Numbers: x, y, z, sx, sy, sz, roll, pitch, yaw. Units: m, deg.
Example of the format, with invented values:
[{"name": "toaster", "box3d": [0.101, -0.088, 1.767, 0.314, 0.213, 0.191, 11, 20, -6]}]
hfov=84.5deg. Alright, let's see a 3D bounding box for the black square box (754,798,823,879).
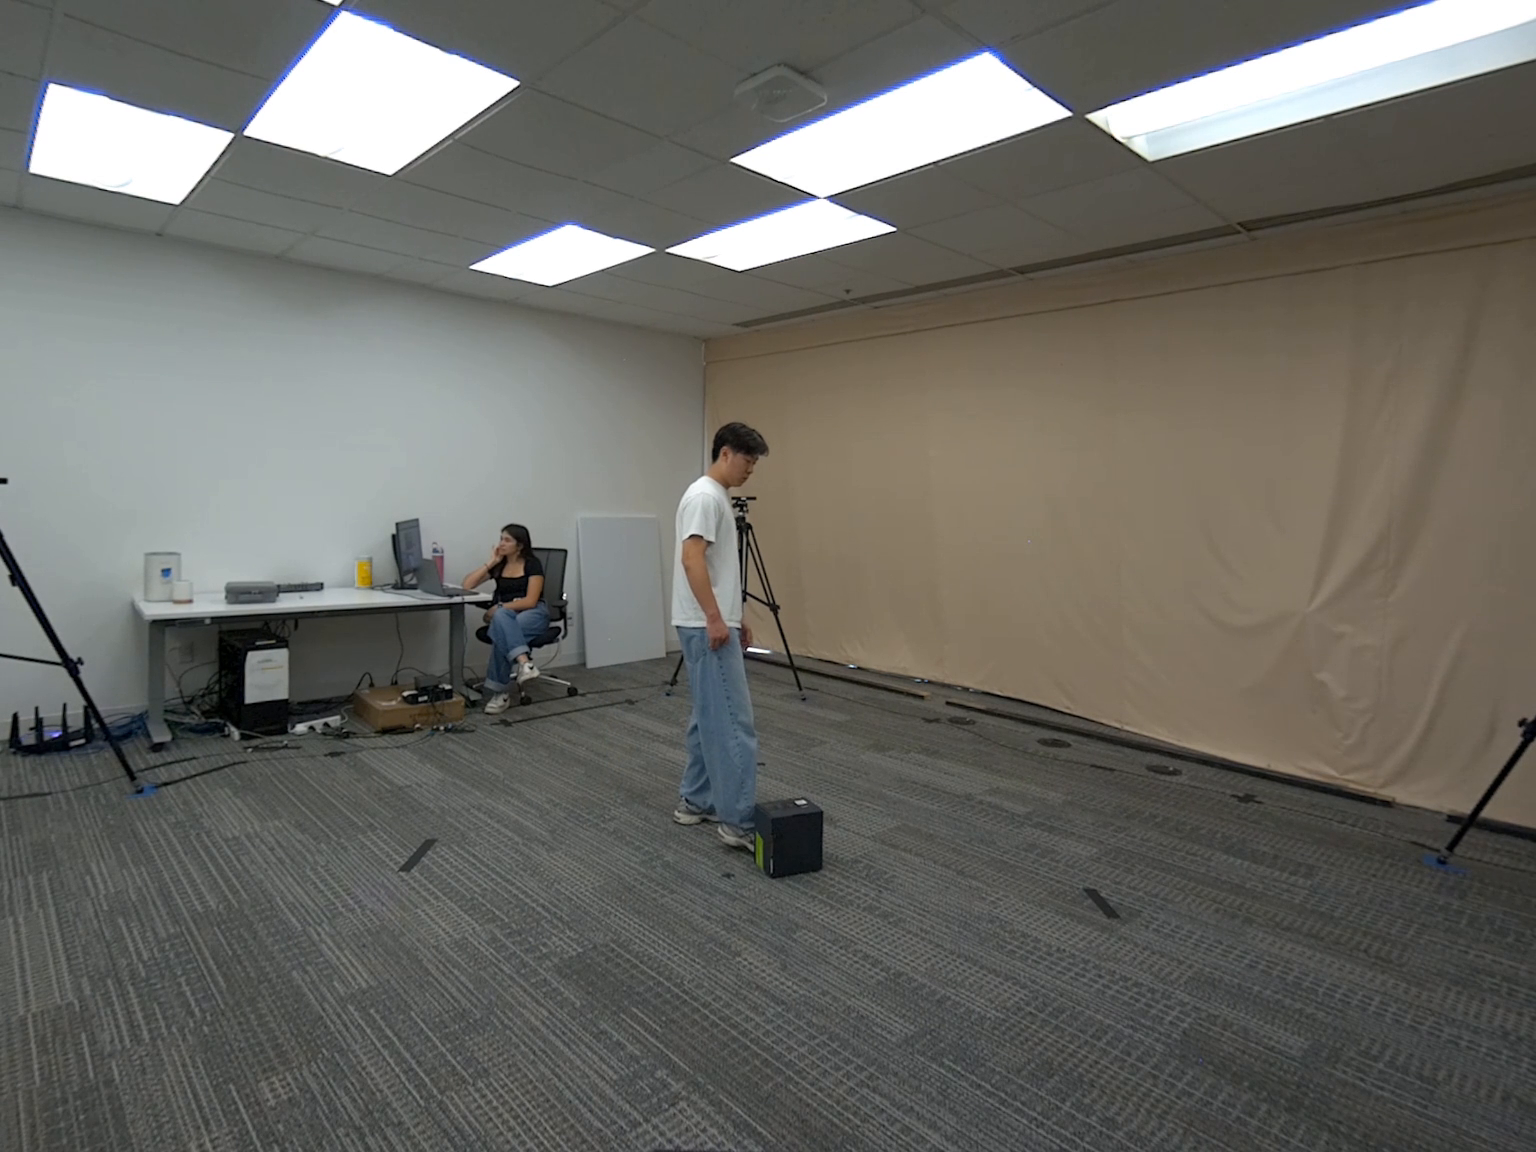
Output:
[{"name": "black square box", "box3d": [0.069, 0.982, 3.180, 0.213, 0.227, 0.159, -1, 4, -24]}]
